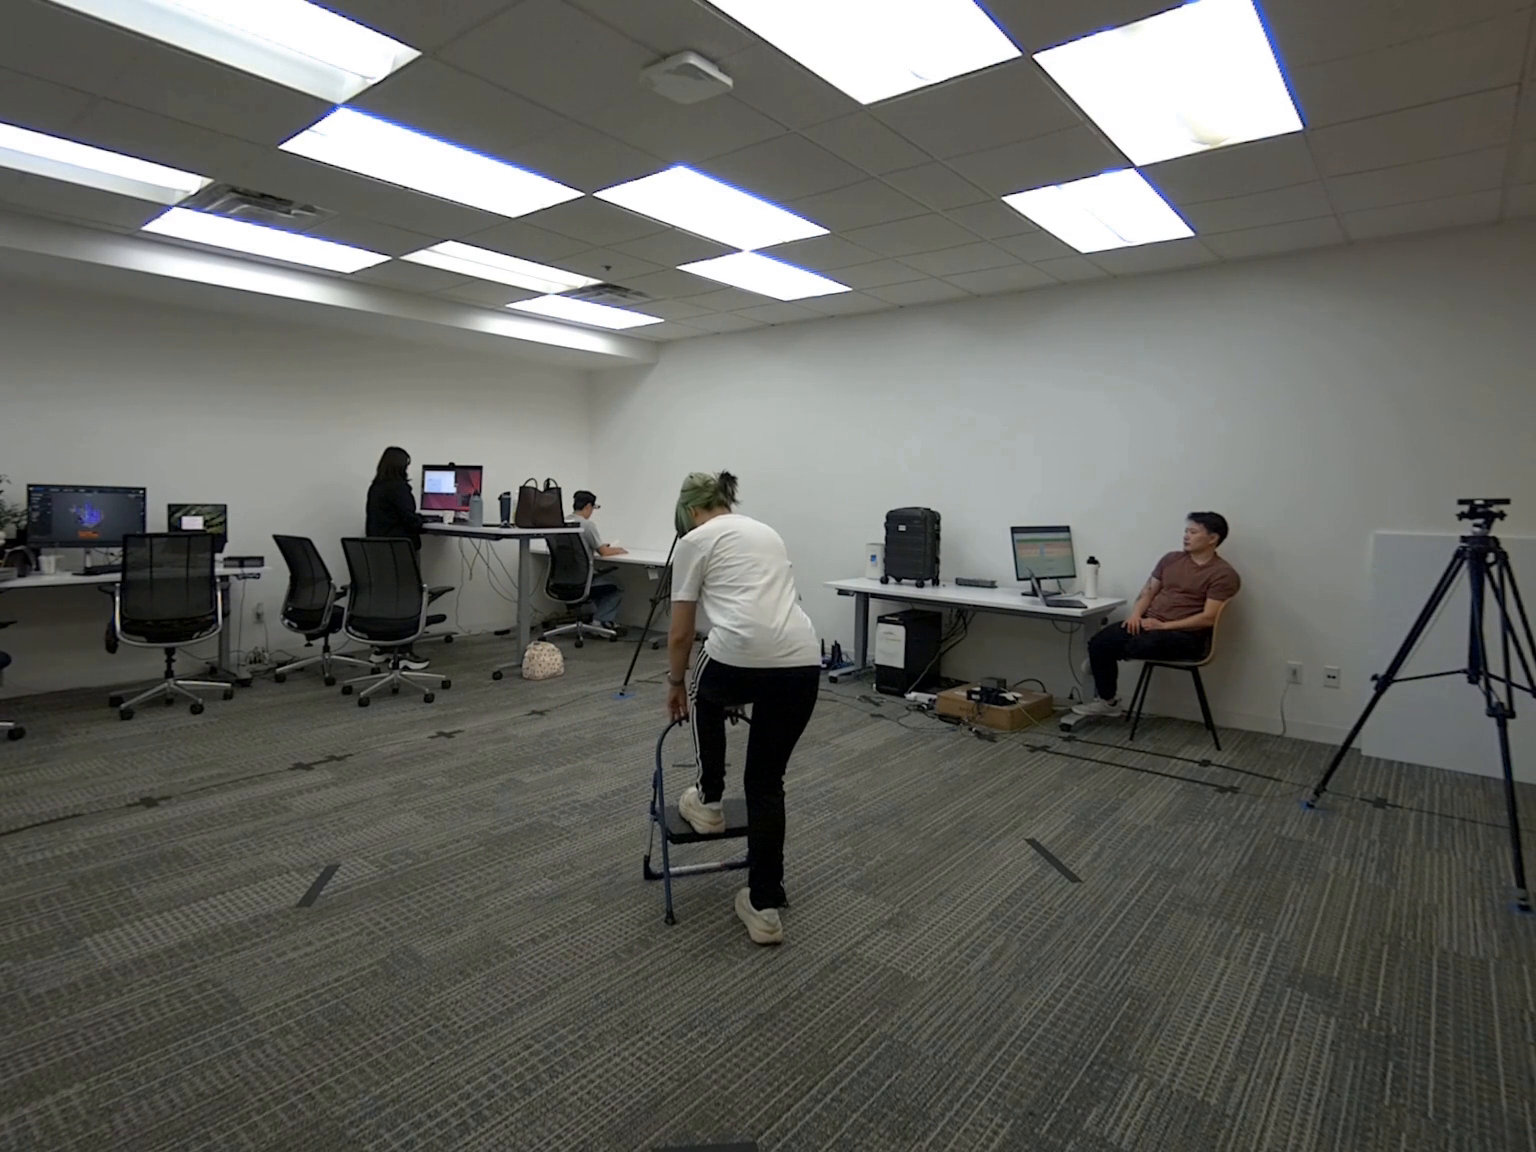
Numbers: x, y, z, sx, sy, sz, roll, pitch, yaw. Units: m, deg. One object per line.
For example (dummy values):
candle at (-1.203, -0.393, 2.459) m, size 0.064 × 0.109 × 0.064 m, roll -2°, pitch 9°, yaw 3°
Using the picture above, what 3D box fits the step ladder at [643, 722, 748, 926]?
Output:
step ladder at (-0.194, 0.789, 2.921) m, size 0.421 × 0.604 × 0.358 m, roll 0°, pitch 4°, yaw -22°
